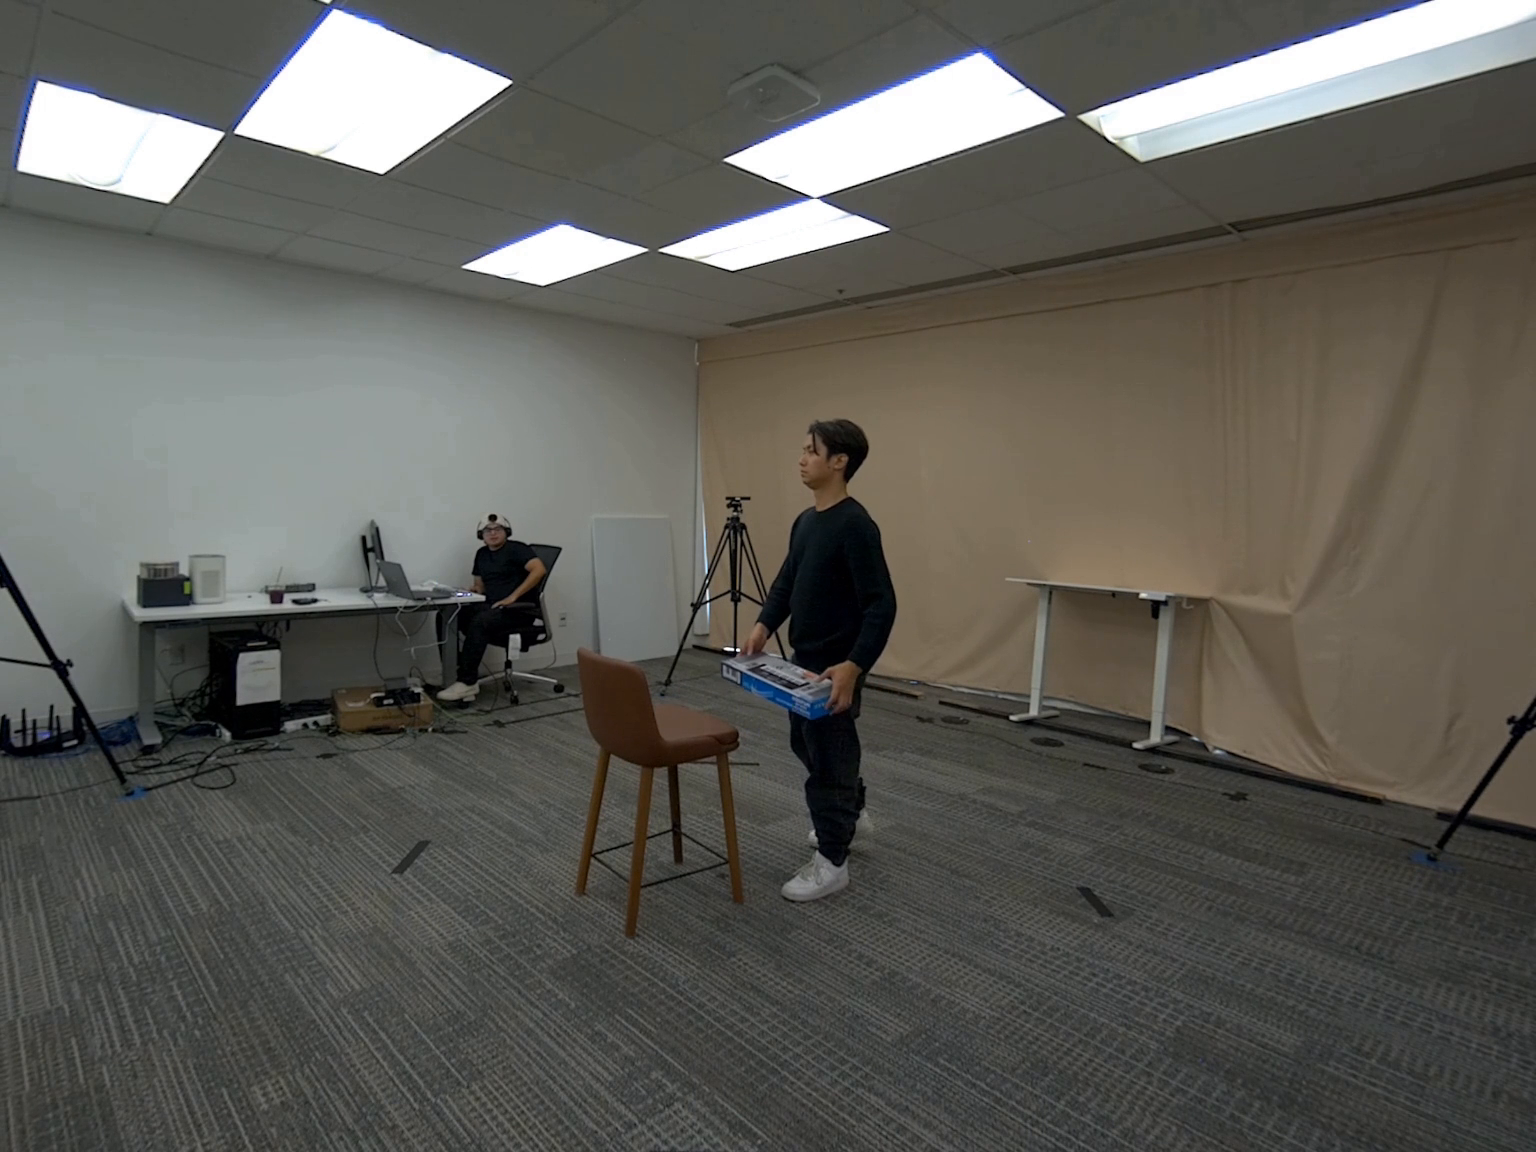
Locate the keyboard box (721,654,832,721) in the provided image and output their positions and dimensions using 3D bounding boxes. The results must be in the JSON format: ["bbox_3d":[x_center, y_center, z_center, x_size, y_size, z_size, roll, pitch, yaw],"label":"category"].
[{"bbox_3d":[0.049,0.349,2.755,0.173,0.058,0.449,-12,19,-38],"label":"keyboard box"}]
